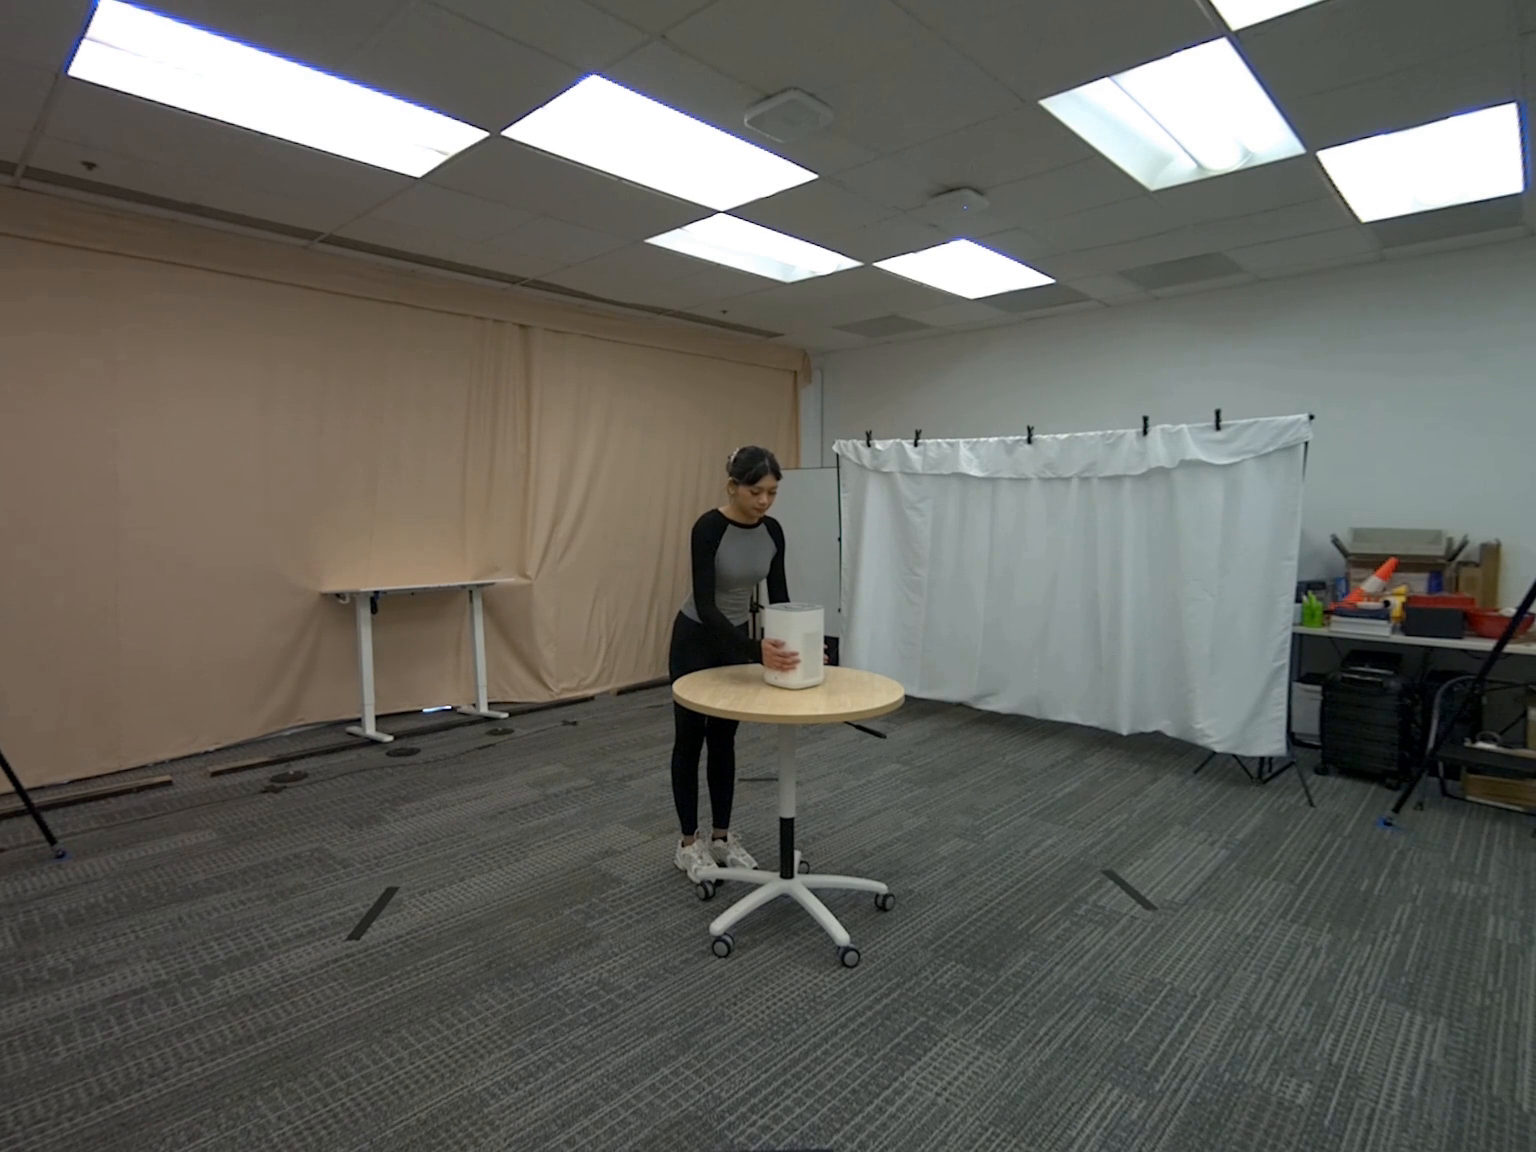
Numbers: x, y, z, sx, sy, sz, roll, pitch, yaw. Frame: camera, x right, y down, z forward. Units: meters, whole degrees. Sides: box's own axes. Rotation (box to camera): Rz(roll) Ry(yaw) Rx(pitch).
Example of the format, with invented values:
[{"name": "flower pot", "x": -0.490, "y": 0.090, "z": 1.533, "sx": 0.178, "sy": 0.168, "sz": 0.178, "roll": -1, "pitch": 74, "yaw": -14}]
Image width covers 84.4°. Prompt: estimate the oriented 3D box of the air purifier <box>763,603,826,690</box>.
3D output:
[{"name": "air purifier", "x": 0.087, "y": 0.233, "z": 2.811, "sx": 0.166, "sy": 0.264, "sz": 0.177, "roll": -5, "pitch": 6, "yaw": -44}]
